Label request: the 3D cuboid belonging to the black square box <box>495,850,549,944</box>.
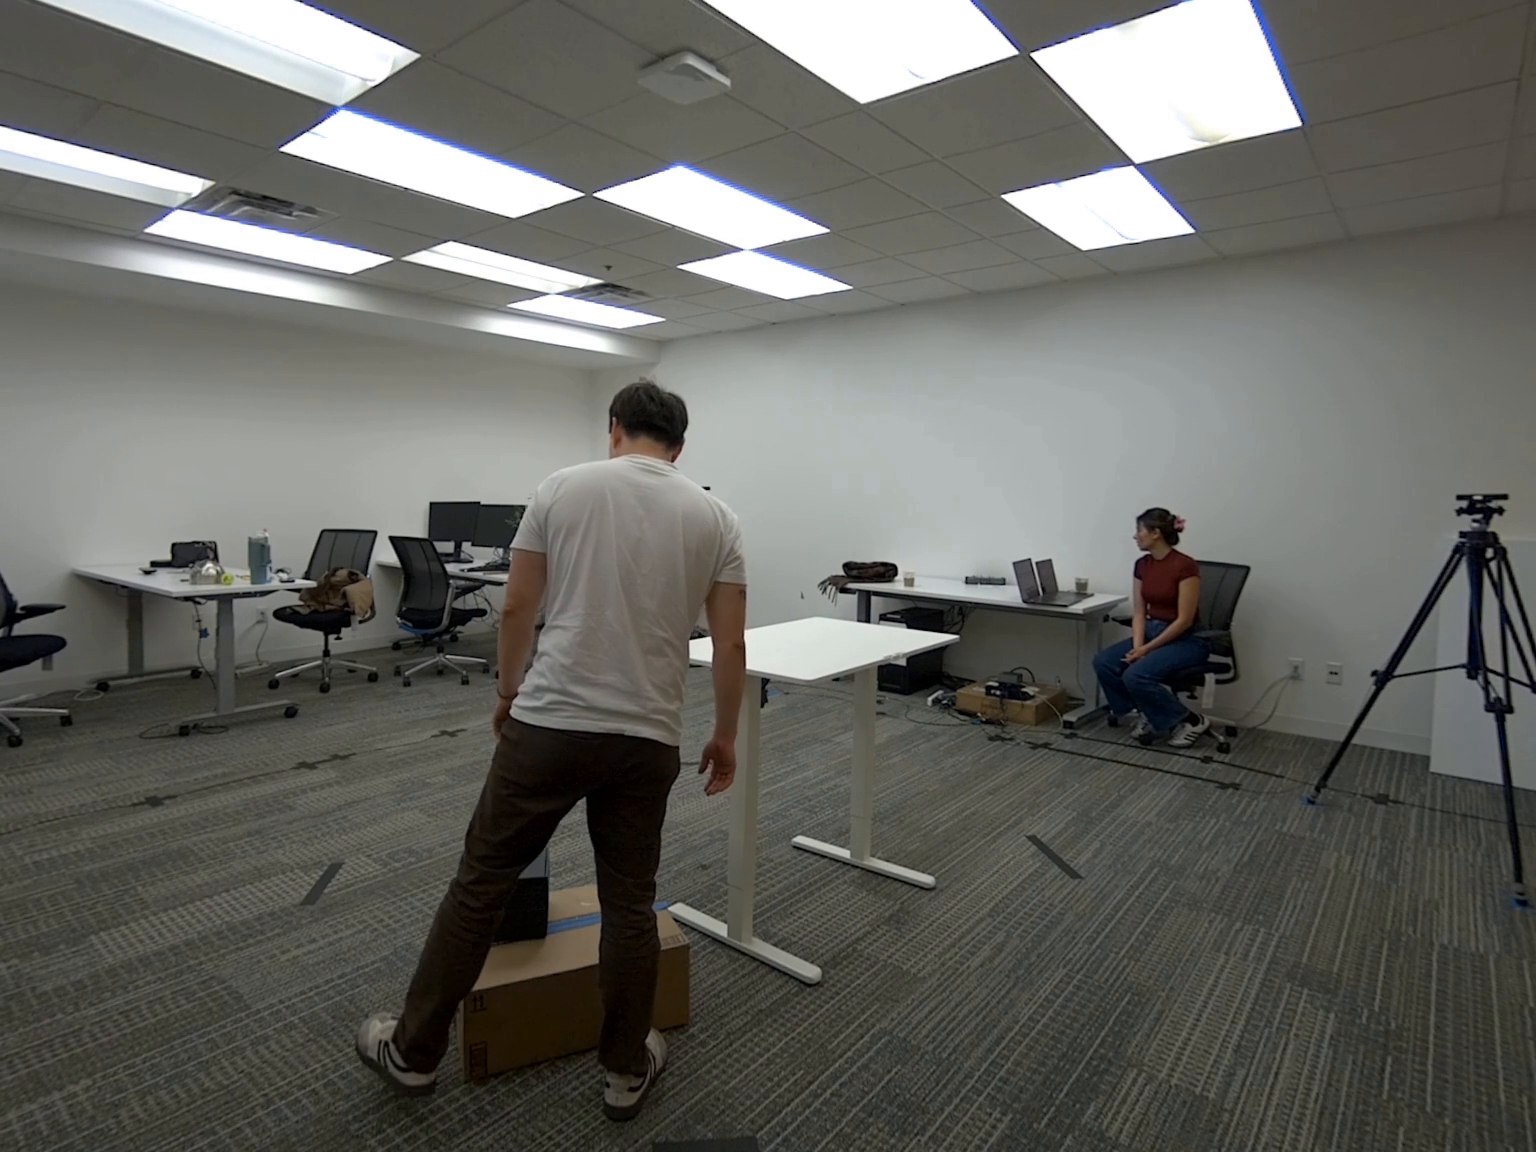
[{"bbox_3d":[-0.706,0.841,2.284,0.225,0.155,0.220,0,3,-11],"label":"black square box"}]
